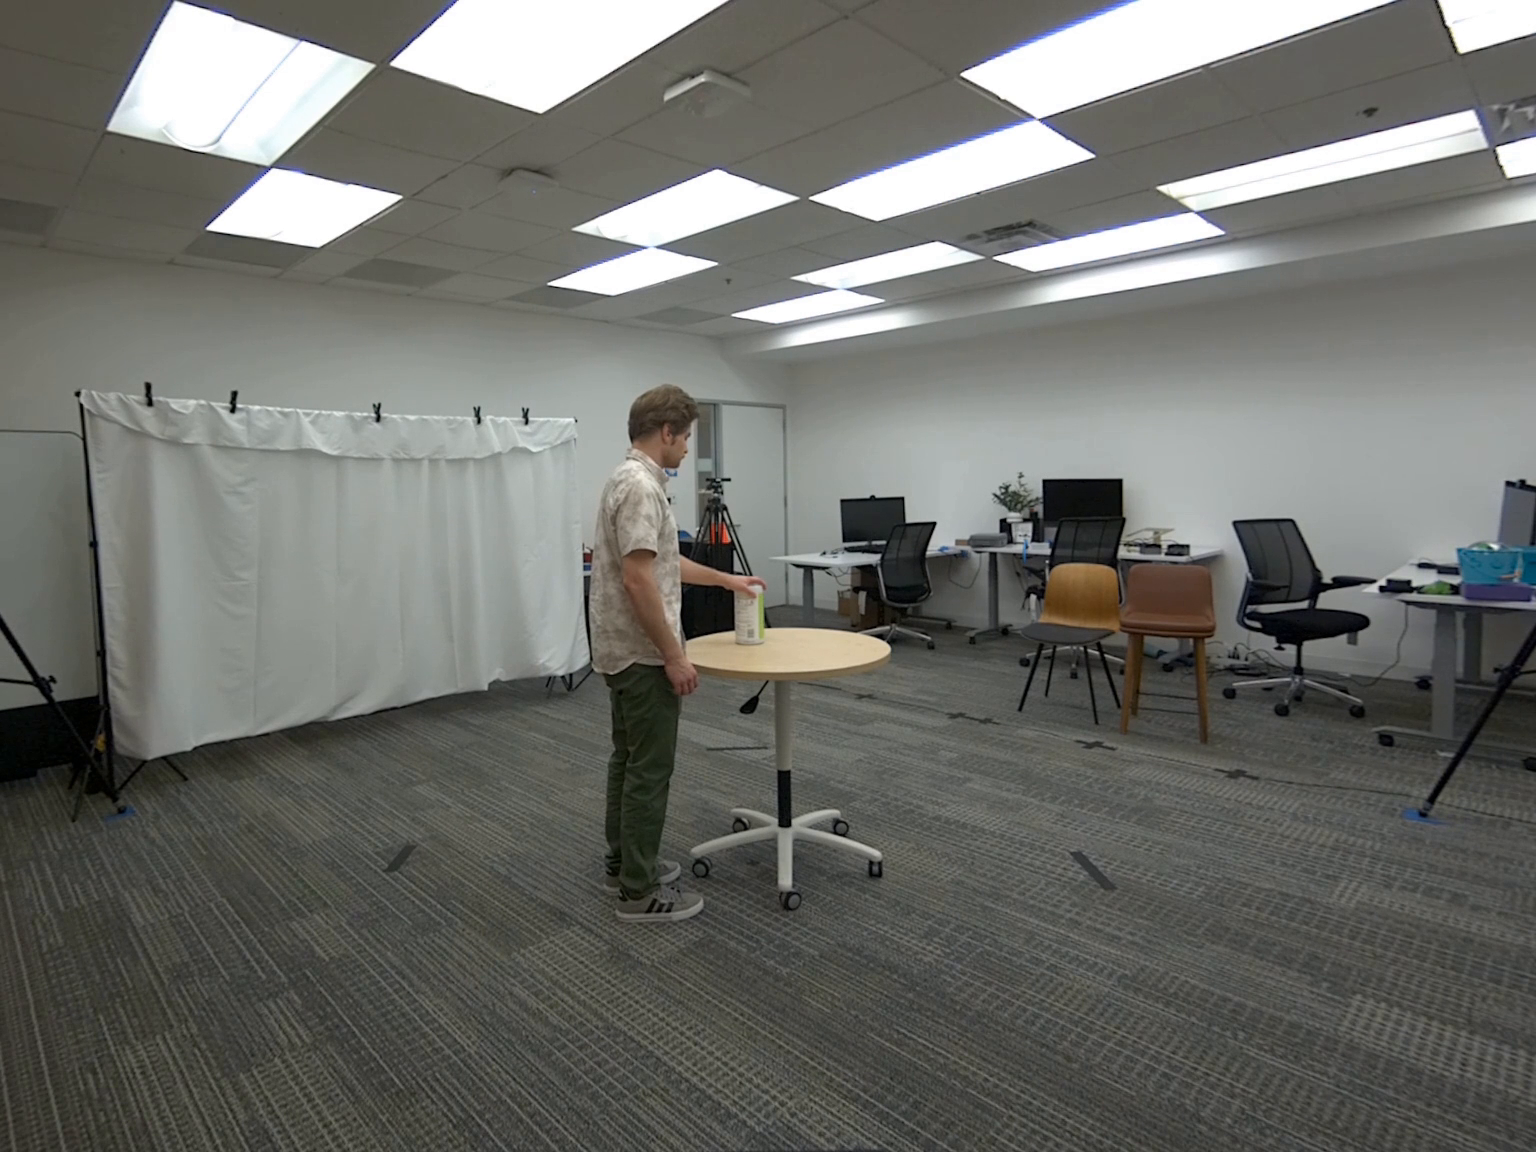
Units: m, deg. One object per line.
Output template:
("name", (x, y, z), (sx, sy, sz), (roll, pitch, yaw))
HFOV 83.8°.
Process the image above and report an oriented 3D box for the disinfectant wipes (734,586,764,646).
("disinfectant wipes", (-0.066, 0.140, 3.151), (0.118, 0.217, 0.118), (-2, 2, -2))
